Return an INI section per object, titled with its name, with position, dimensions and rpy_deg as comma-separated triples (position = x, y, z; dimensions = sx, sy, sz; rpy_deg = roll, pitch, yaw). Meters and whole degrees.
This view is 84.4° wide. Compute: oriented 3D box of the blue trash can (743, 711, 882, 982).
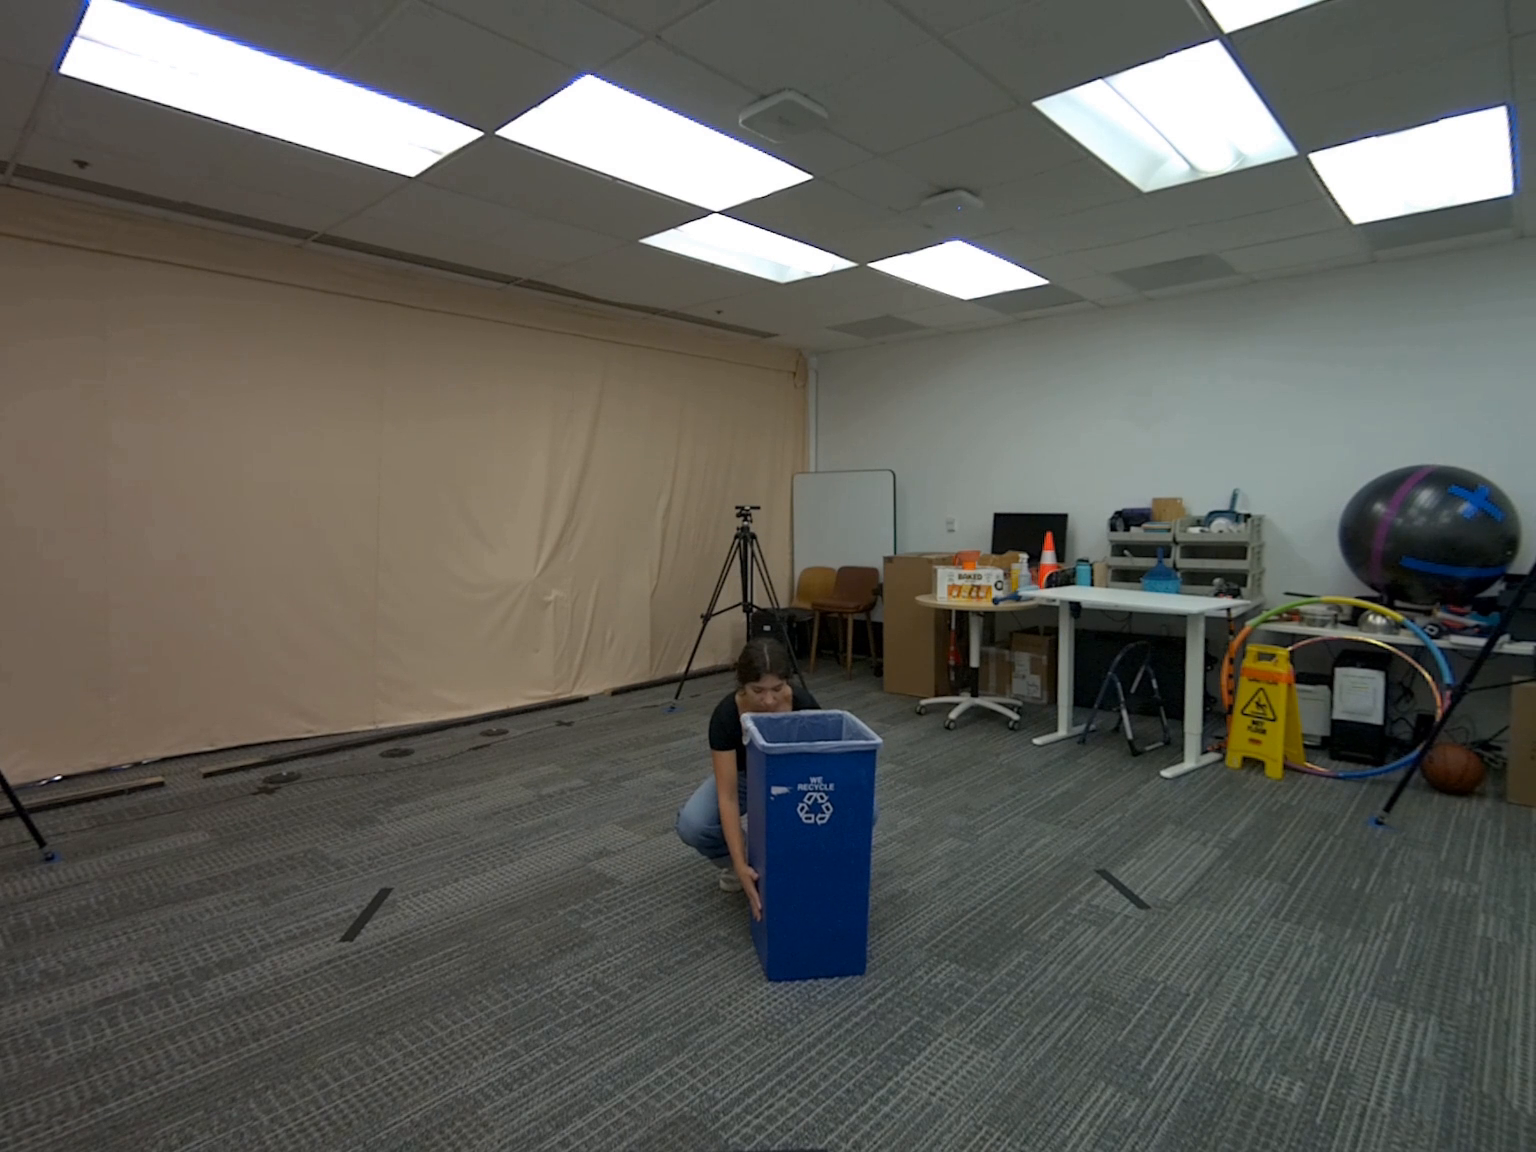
[blue trash can]
position = 0.125, 0.816, 2.605
dimensions = 0.370, 0.712, 0.383
rpy_deg = -1, 4, -11
